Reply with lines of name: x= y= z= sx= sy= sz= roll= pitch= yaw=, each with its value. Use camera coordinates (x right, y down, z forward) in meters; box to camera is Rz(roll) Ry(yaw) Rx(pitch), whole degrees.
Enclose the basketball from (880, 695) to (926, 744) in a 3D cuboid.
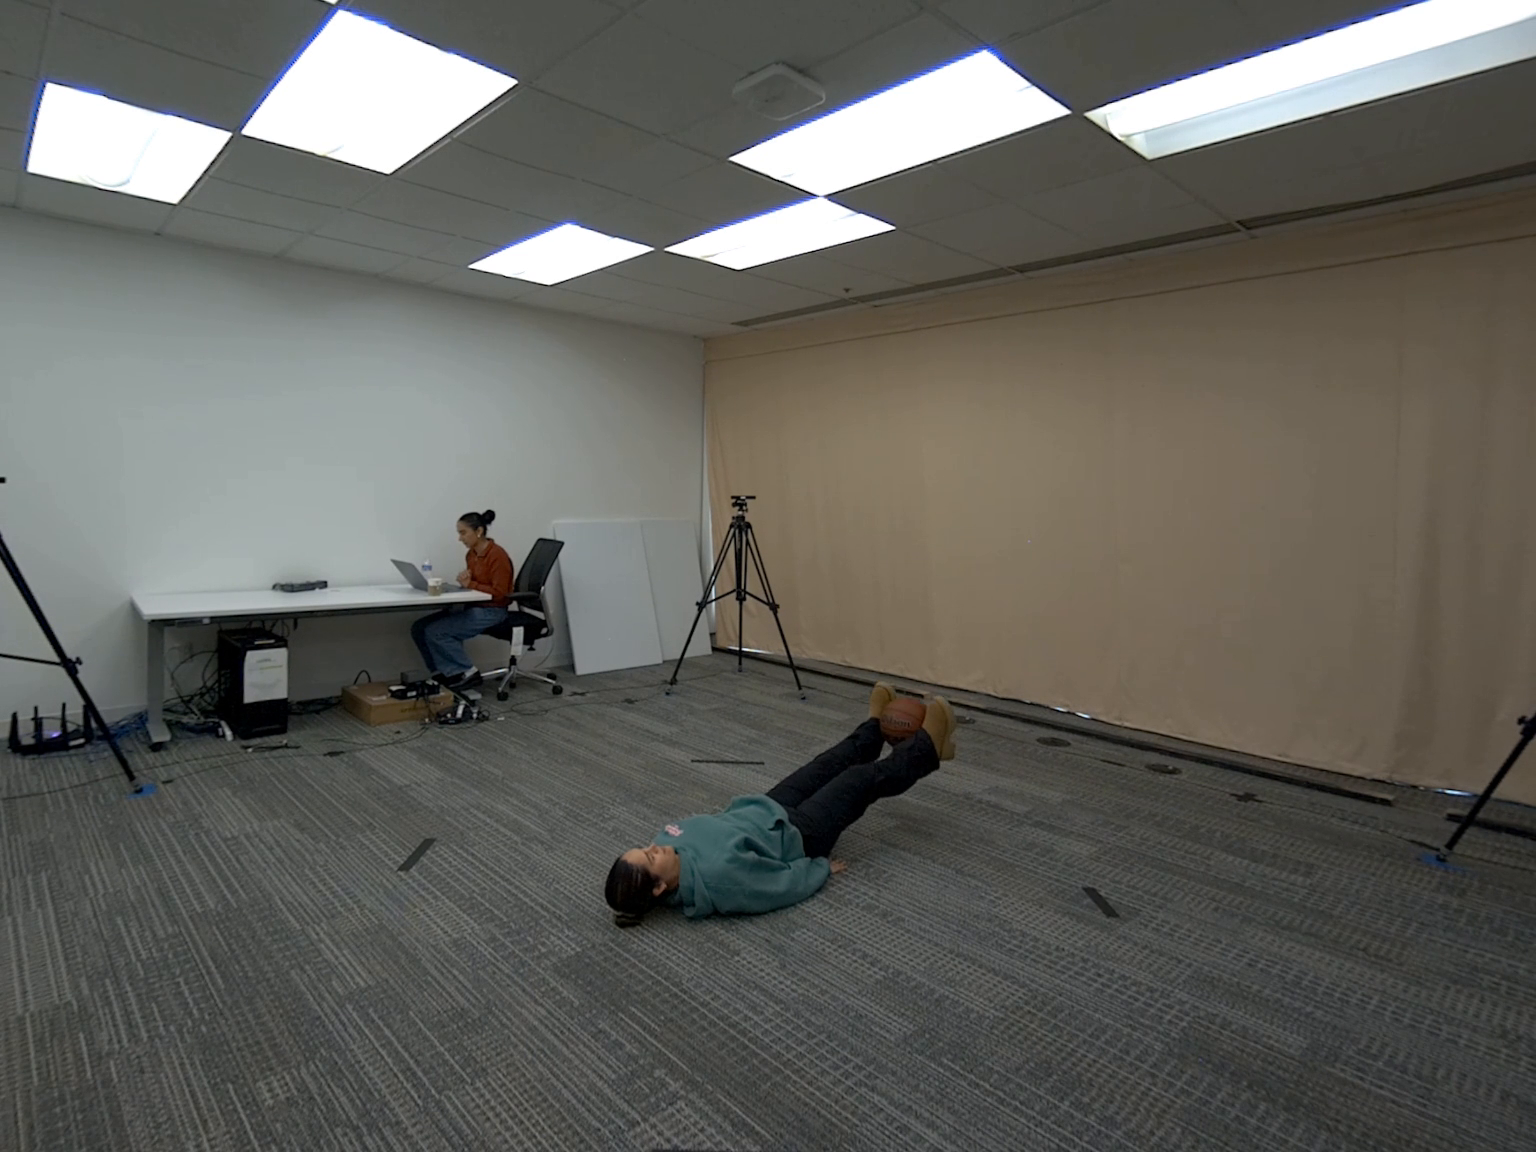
basketball: x=0.598 y=0.651 z=3.700 sx=0.236 sy=0.235 sz=0.237 roll=1 pitch=5 yaw=-1
